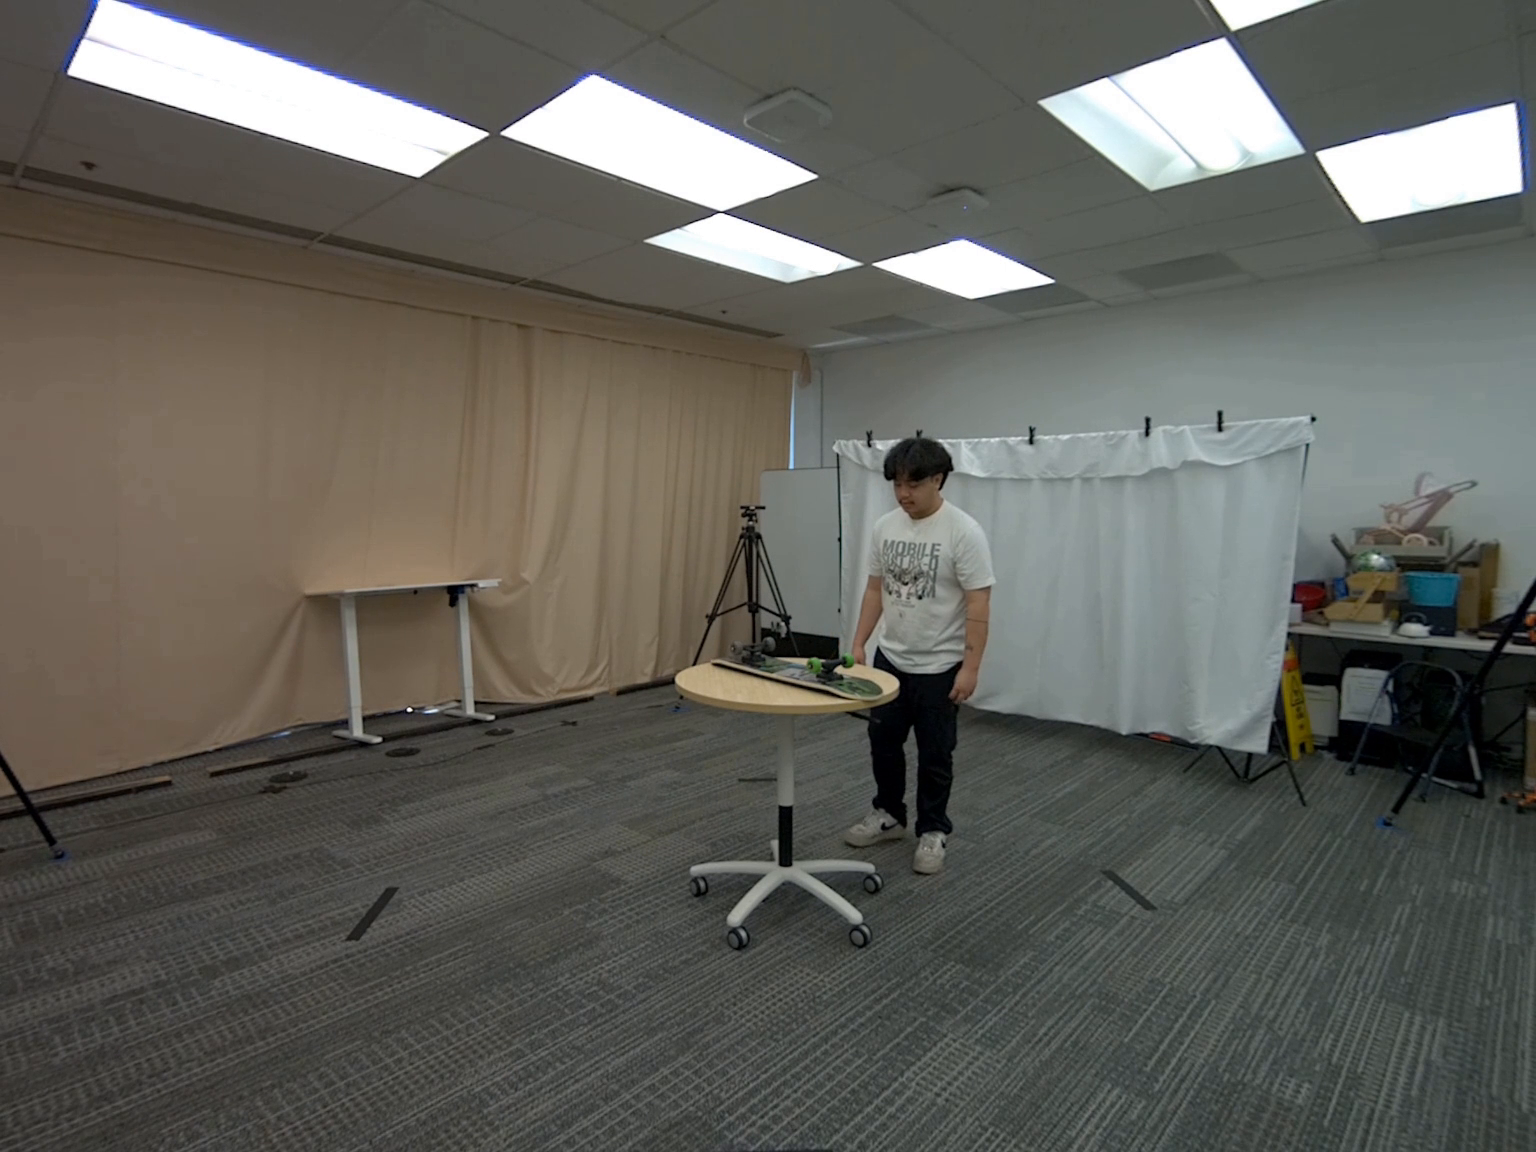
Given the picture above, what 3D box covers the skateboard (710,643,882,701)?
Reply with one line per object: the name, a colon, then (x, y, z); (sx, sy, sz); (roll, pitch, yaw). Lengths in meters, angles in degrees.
skateboard: (0.075, 0.306, 2.911); (0.187, 0.110, 0.811); (-2, 5, -38)
